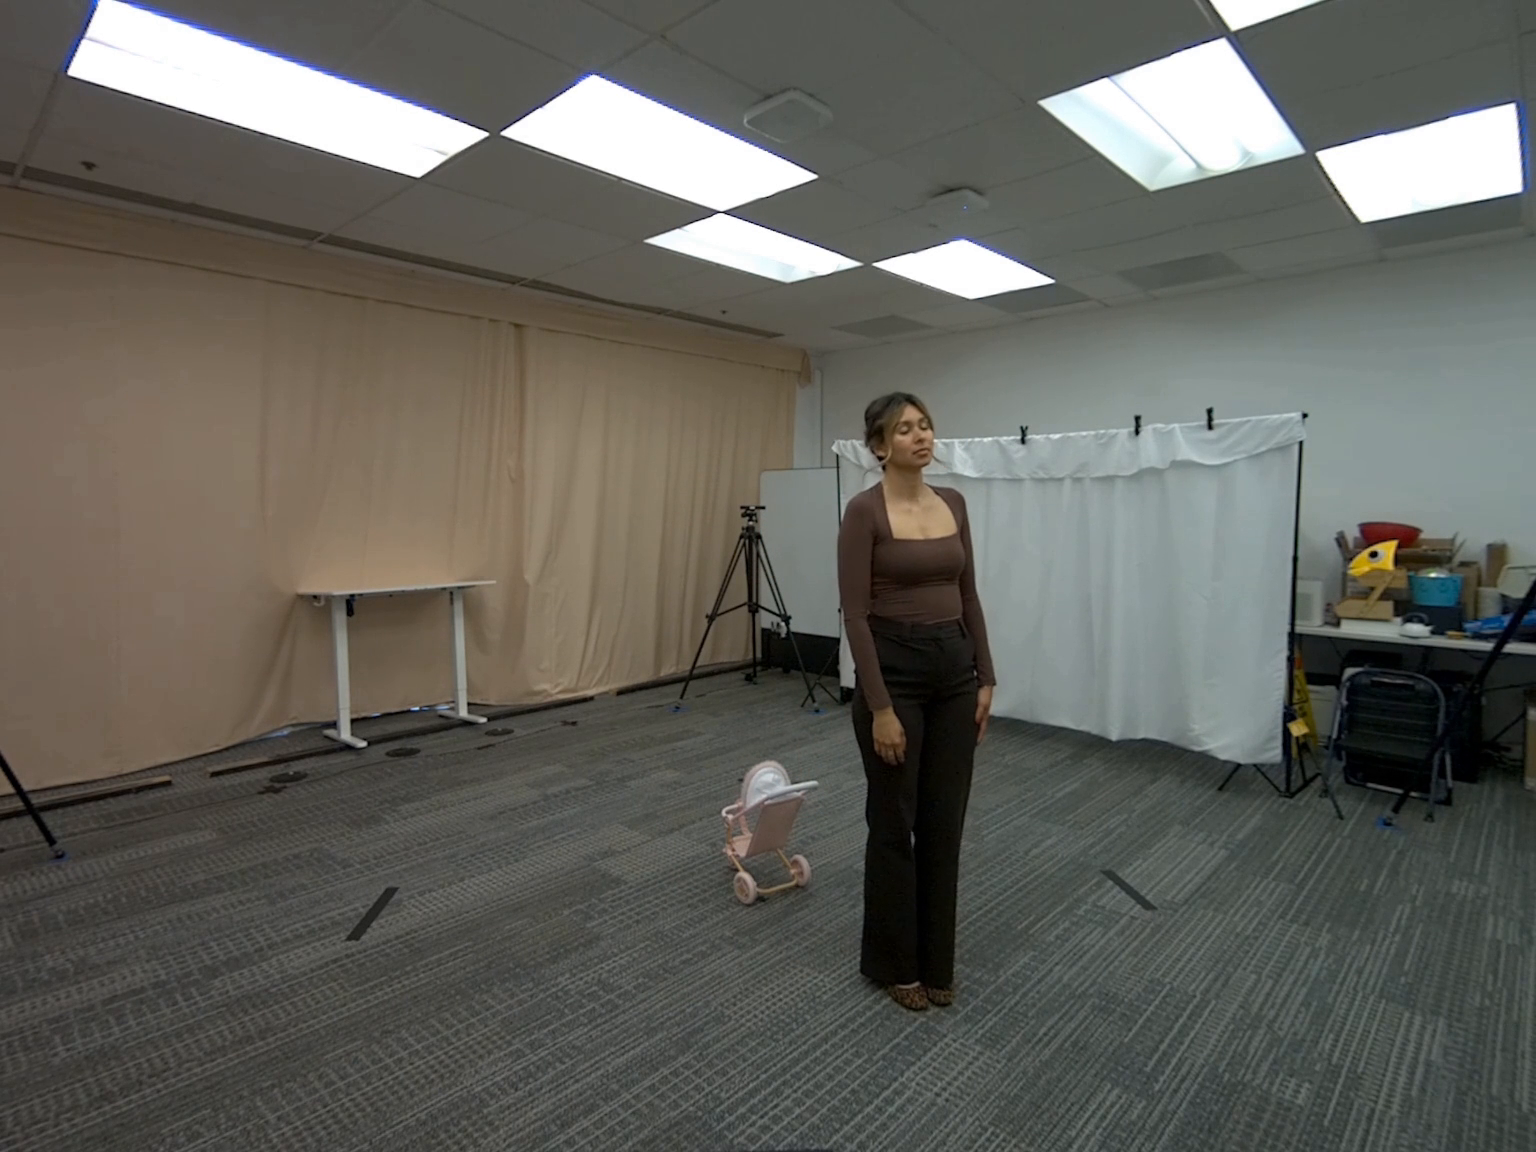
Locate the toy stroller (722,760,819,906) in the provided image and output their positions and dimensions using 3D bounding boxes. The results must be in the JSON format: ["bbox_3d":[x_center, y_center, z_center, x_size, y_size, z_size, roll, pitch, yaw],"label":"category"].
[{"bbox_3d":[-0.016,0.909,3.064,0.274,0.531,0.353,-2,19,-31],"label":"toy stroller"}]
